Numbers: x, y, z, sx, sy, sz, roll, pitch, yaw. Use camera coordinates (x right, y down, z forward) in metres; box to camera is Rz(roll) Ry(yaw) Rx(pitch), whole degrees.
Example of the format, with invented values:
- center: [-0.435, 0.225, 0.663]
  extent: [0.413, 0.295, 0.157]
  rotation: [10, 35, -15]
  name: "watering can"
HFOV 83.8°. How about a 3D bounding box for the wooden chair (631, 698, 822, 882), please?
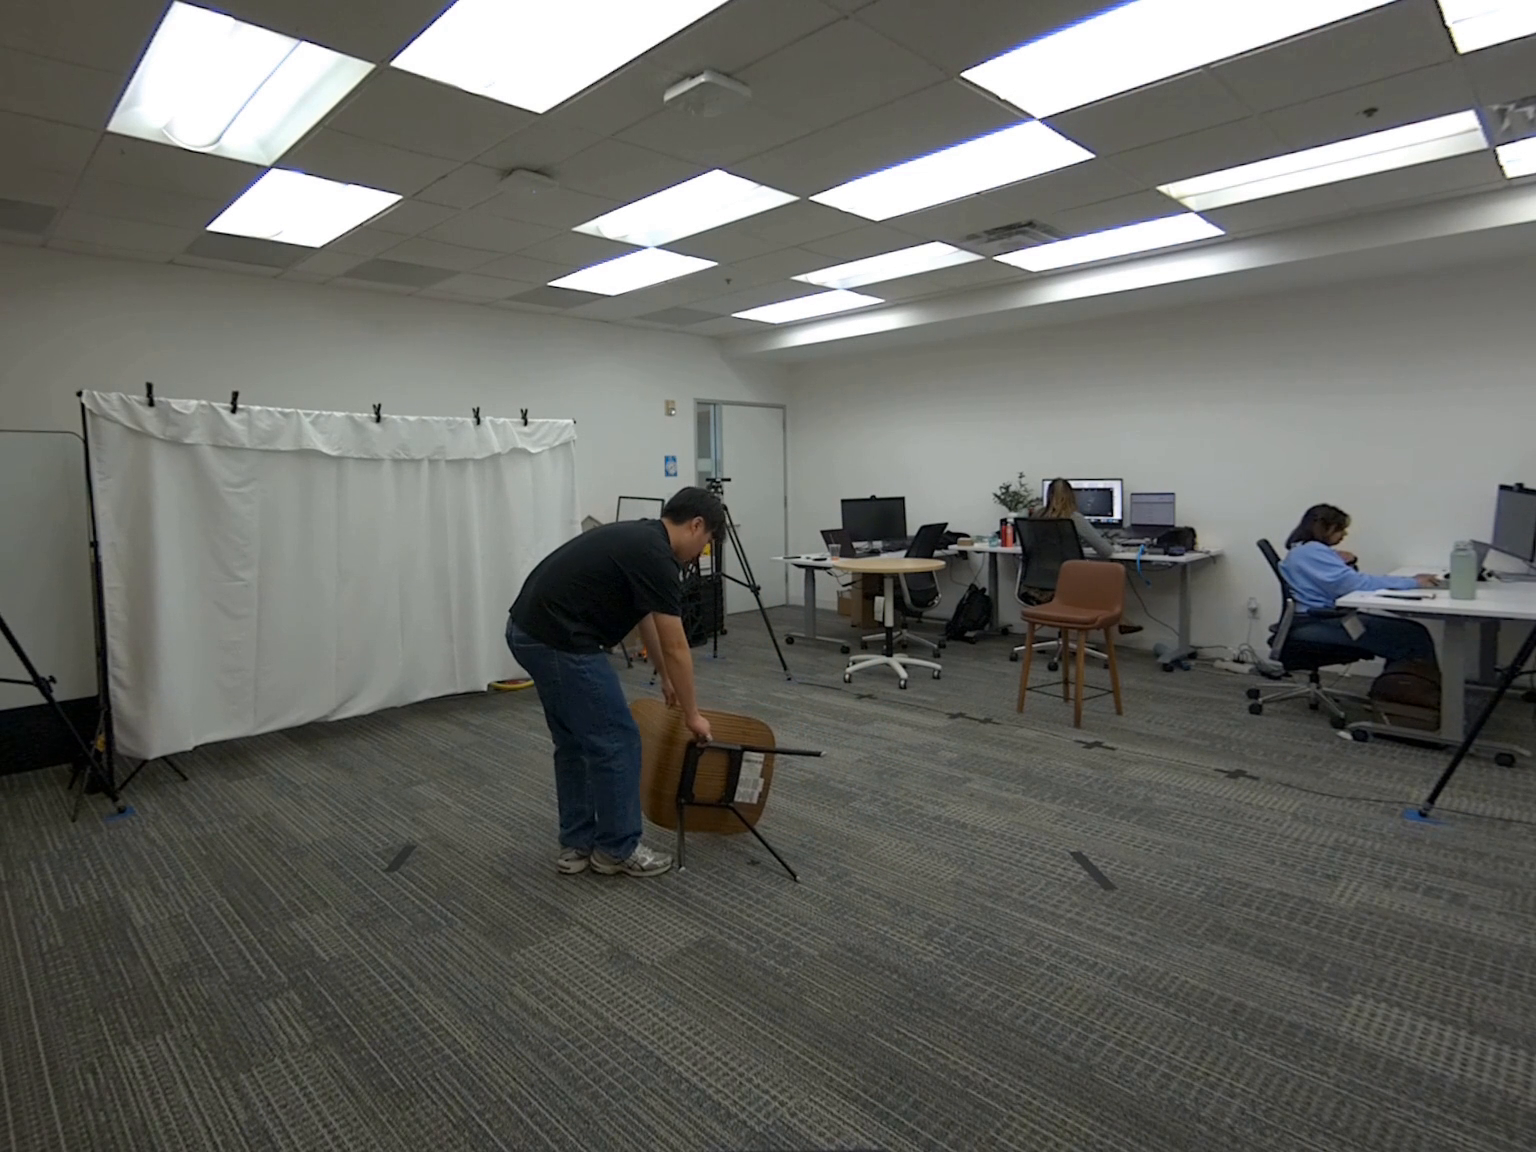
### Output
- center: [-0.212, 0.767, 3.284]
  extent: [0.509, 0.479, 0.900]
  rotation: [13, -3, -28]
  name: "wooden chair"
